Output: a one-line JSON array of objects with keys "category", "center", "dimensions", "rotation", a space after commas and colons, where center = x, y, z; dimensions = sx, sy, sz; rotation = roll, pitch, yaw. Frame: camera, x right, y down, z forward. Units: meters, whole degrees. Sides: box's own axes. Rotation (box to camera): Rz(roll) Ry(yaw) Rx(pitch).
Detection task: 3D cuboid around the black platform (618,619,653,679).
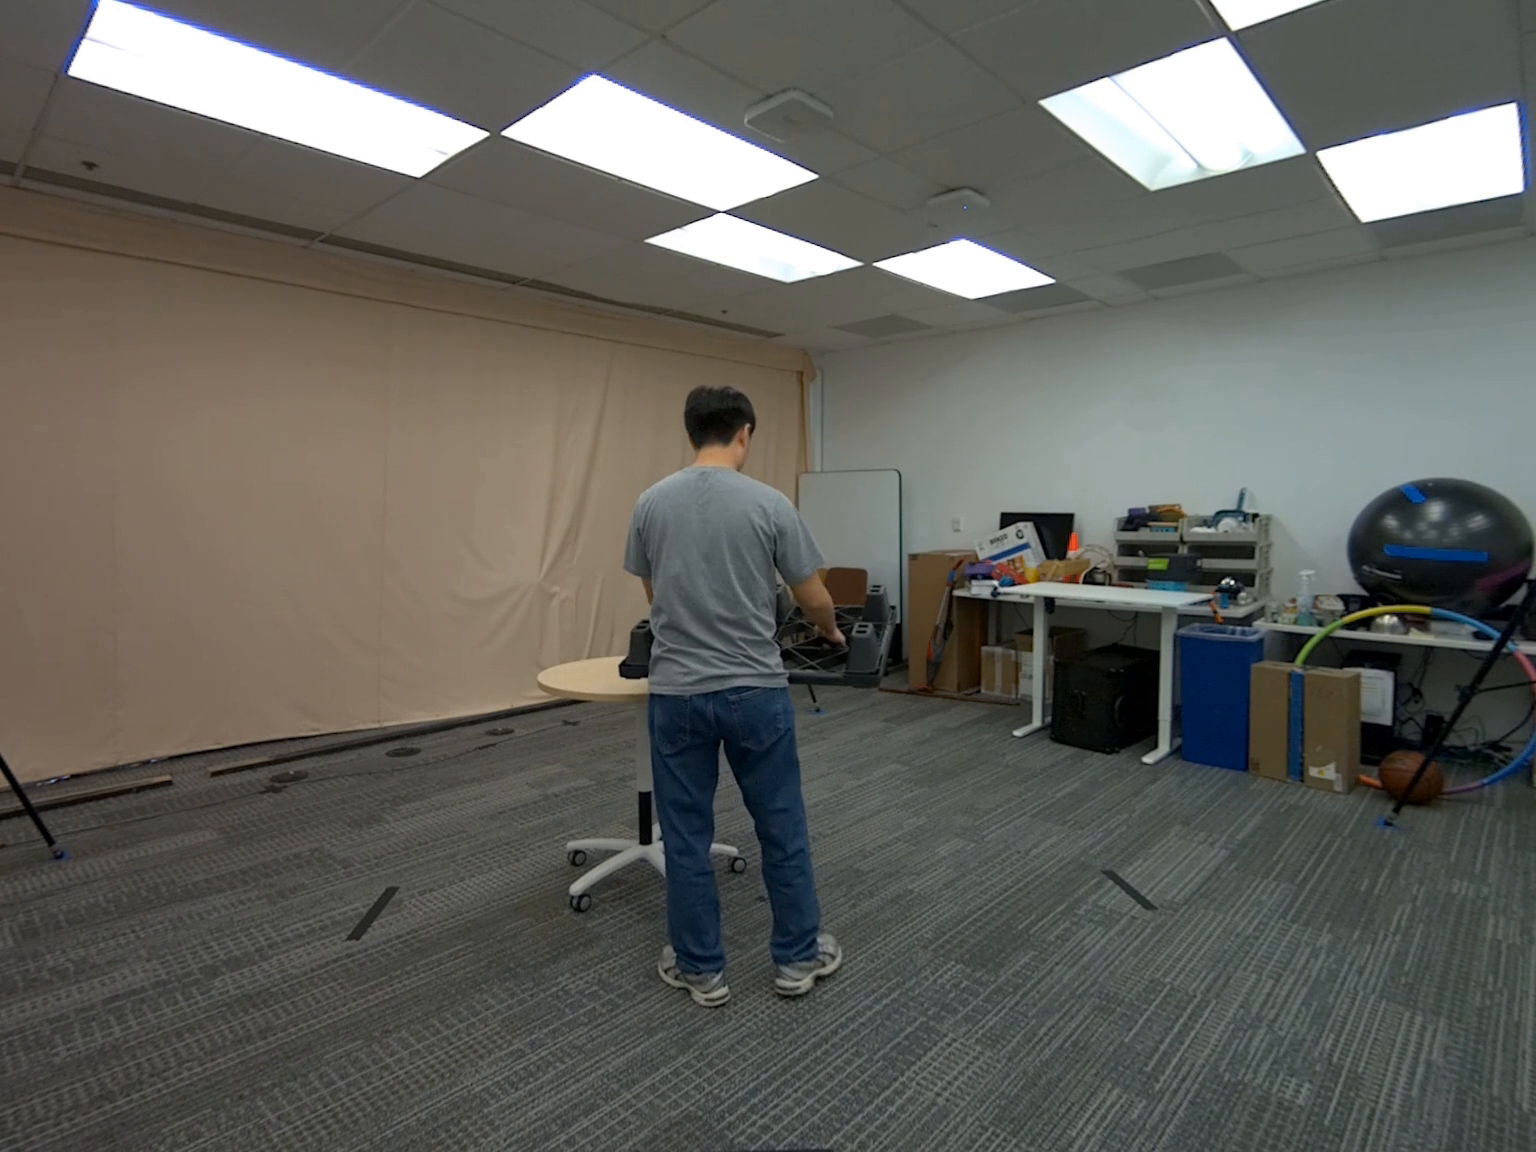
[{"category": "black platform", "center": [-0.013, 0.168, 2.725], "dimensions": [0.820, 0.142, 0.601], "rotation": [-1, 18, 16]}]
